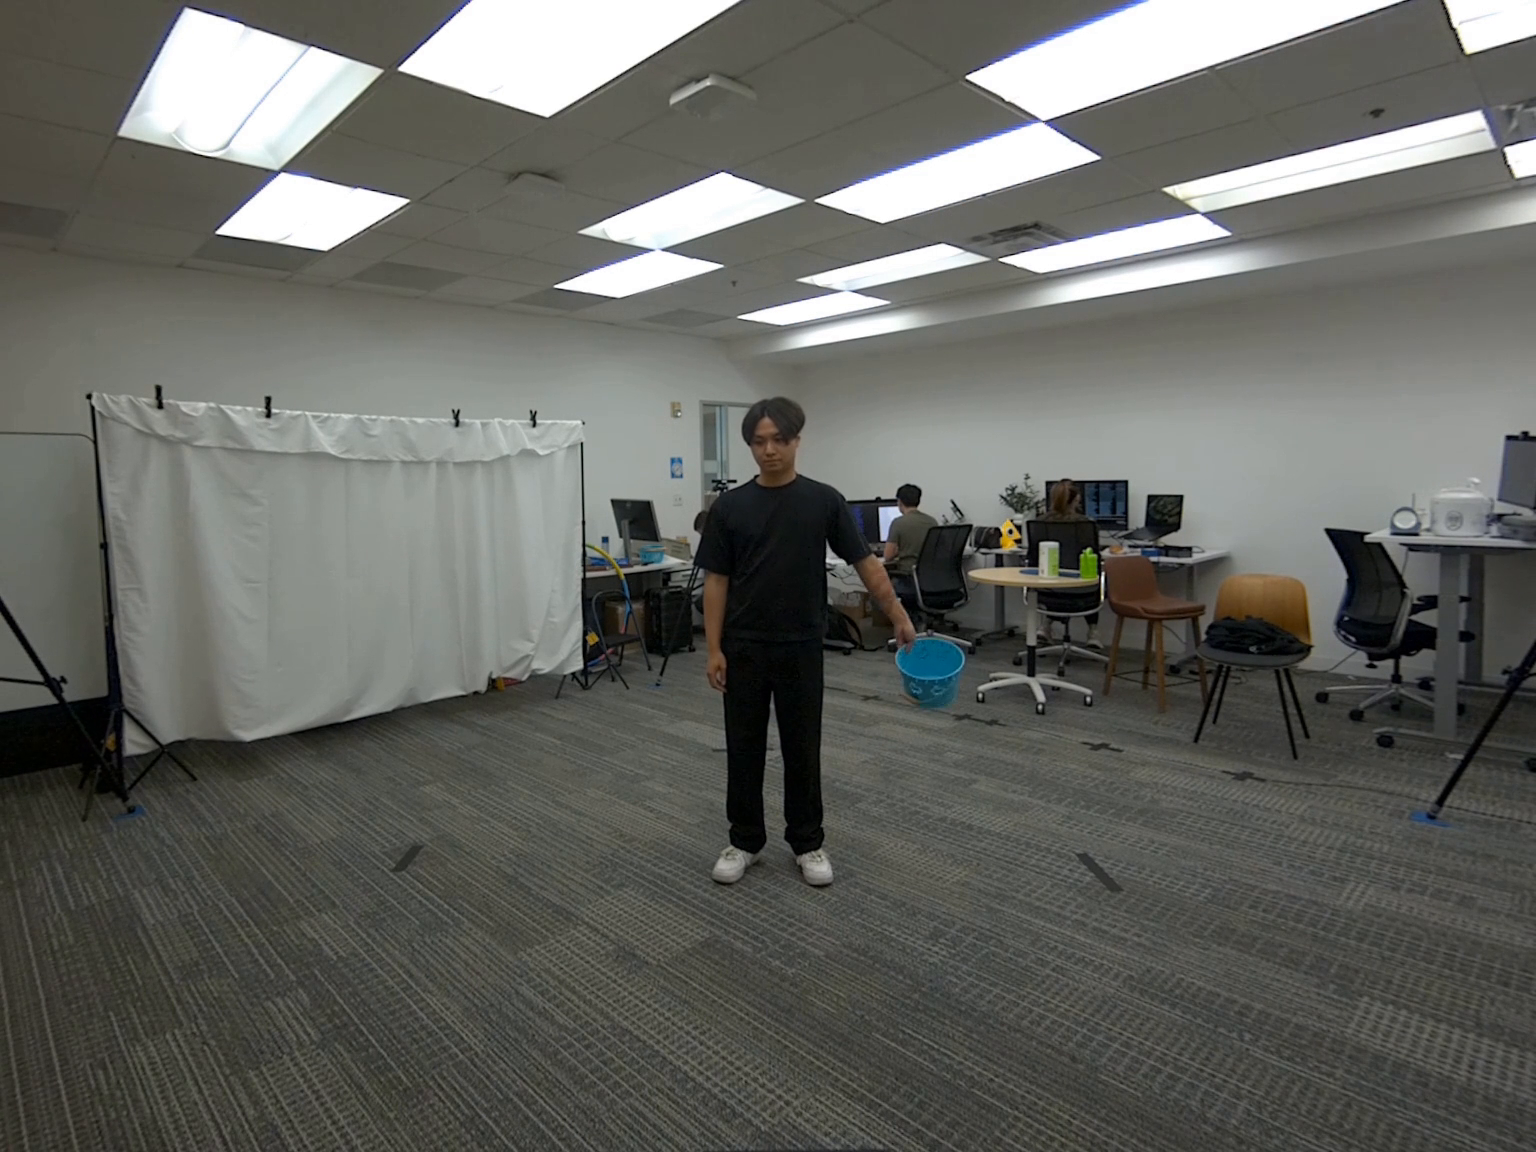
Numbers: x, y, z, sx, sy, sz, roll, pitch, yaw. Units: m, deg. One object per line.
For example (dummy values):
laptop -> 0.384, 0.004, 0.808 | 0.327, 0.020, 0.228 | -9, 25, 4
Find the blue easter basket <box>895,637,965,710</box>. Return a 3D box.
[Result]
blue easter basket -> 0.556, 0.345, 2.986 | 0.244, 0.152, 0.249 | -9, 30, 3
